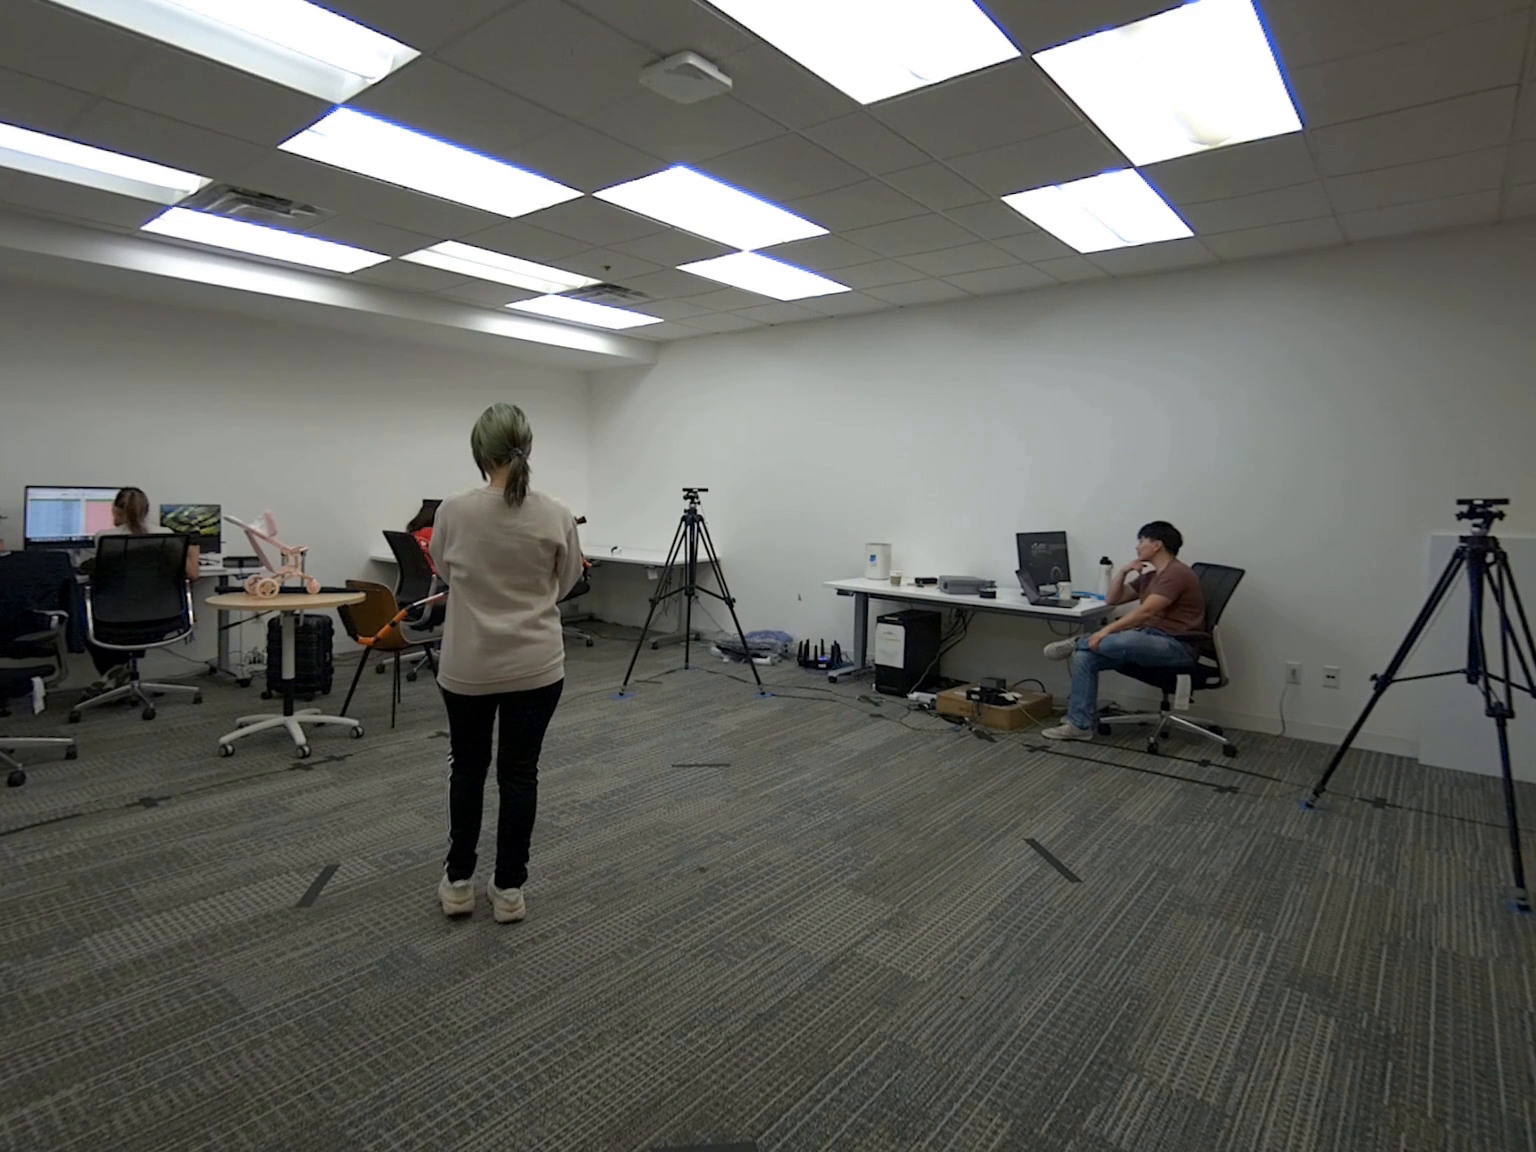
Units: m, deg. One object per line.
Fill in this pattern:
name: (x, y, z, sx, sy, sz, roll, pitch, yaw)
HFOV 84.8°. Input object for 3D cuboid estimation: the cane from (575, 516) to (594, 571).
cane: (-1.076, 0.028, 3.096, 0.896, 0.203, 0.156, -25, 14, -25)
